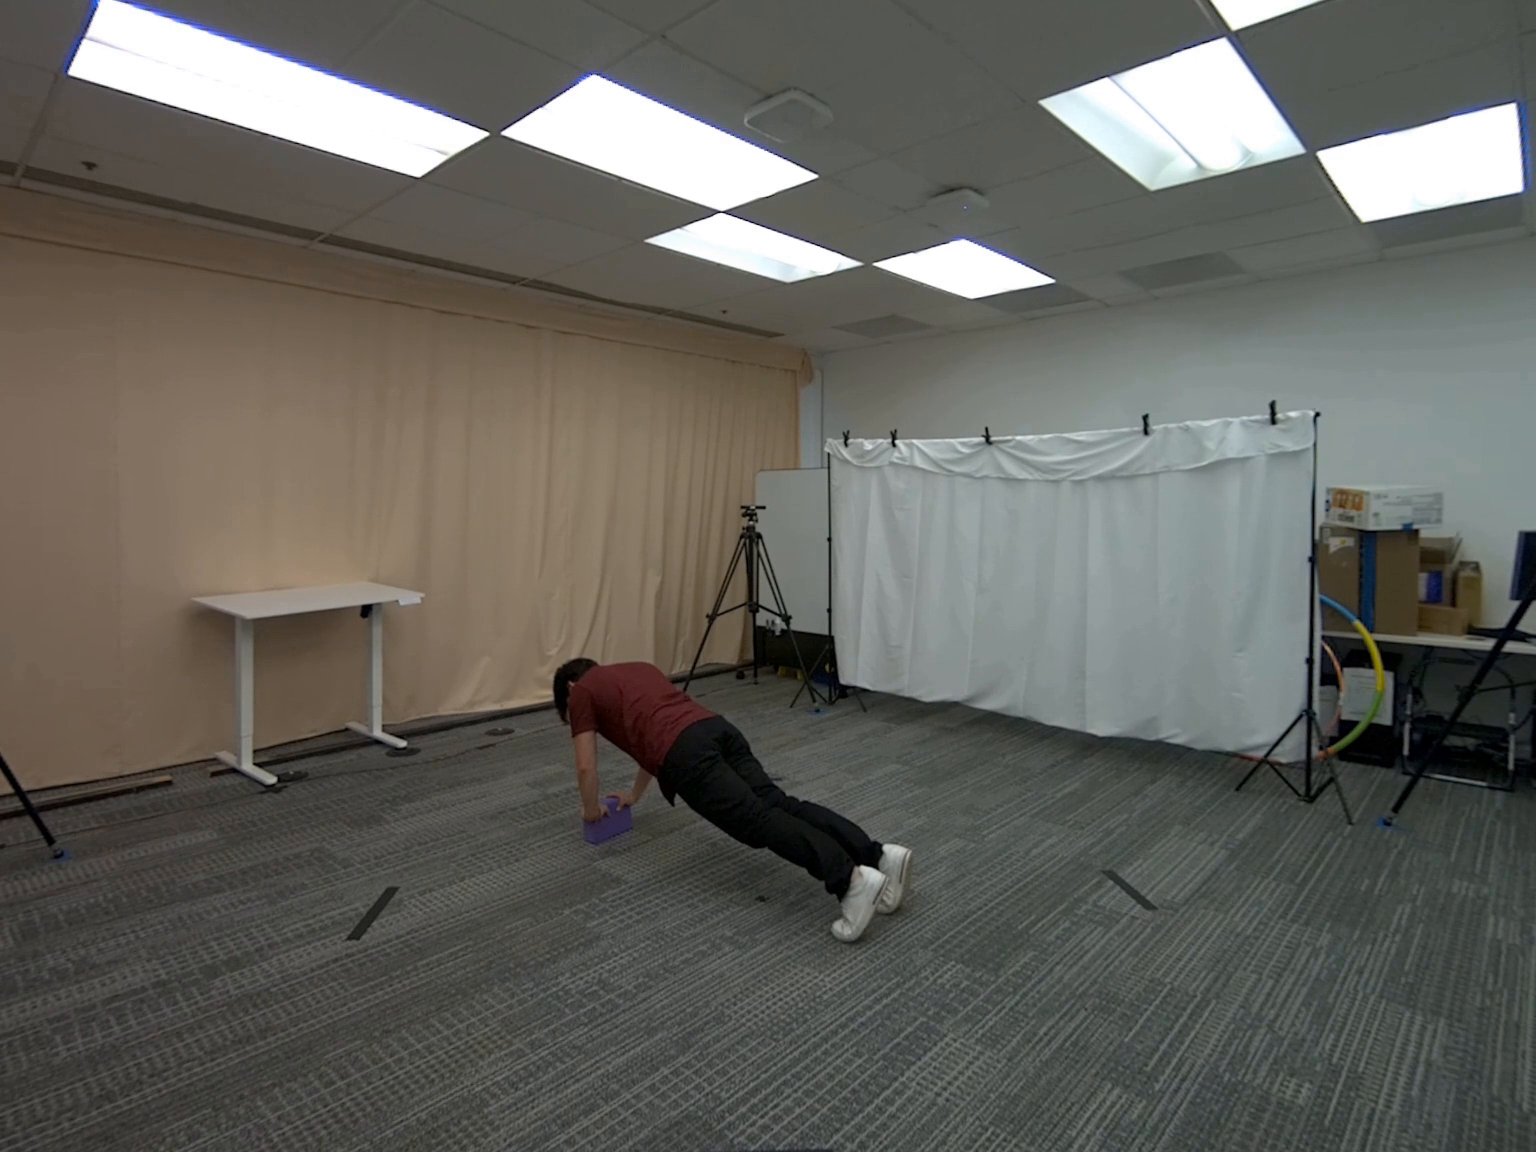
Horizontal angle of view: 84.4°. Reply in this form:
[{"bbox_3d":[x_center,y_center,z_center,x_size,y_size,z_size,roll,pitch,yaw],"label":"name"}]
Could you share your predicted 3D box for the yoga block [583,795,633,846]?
[{"bbox_3d":[-0.684,1.032,3.581,0.078,0.149,0.223,-7,1,35],"label":"yoga block"}]
